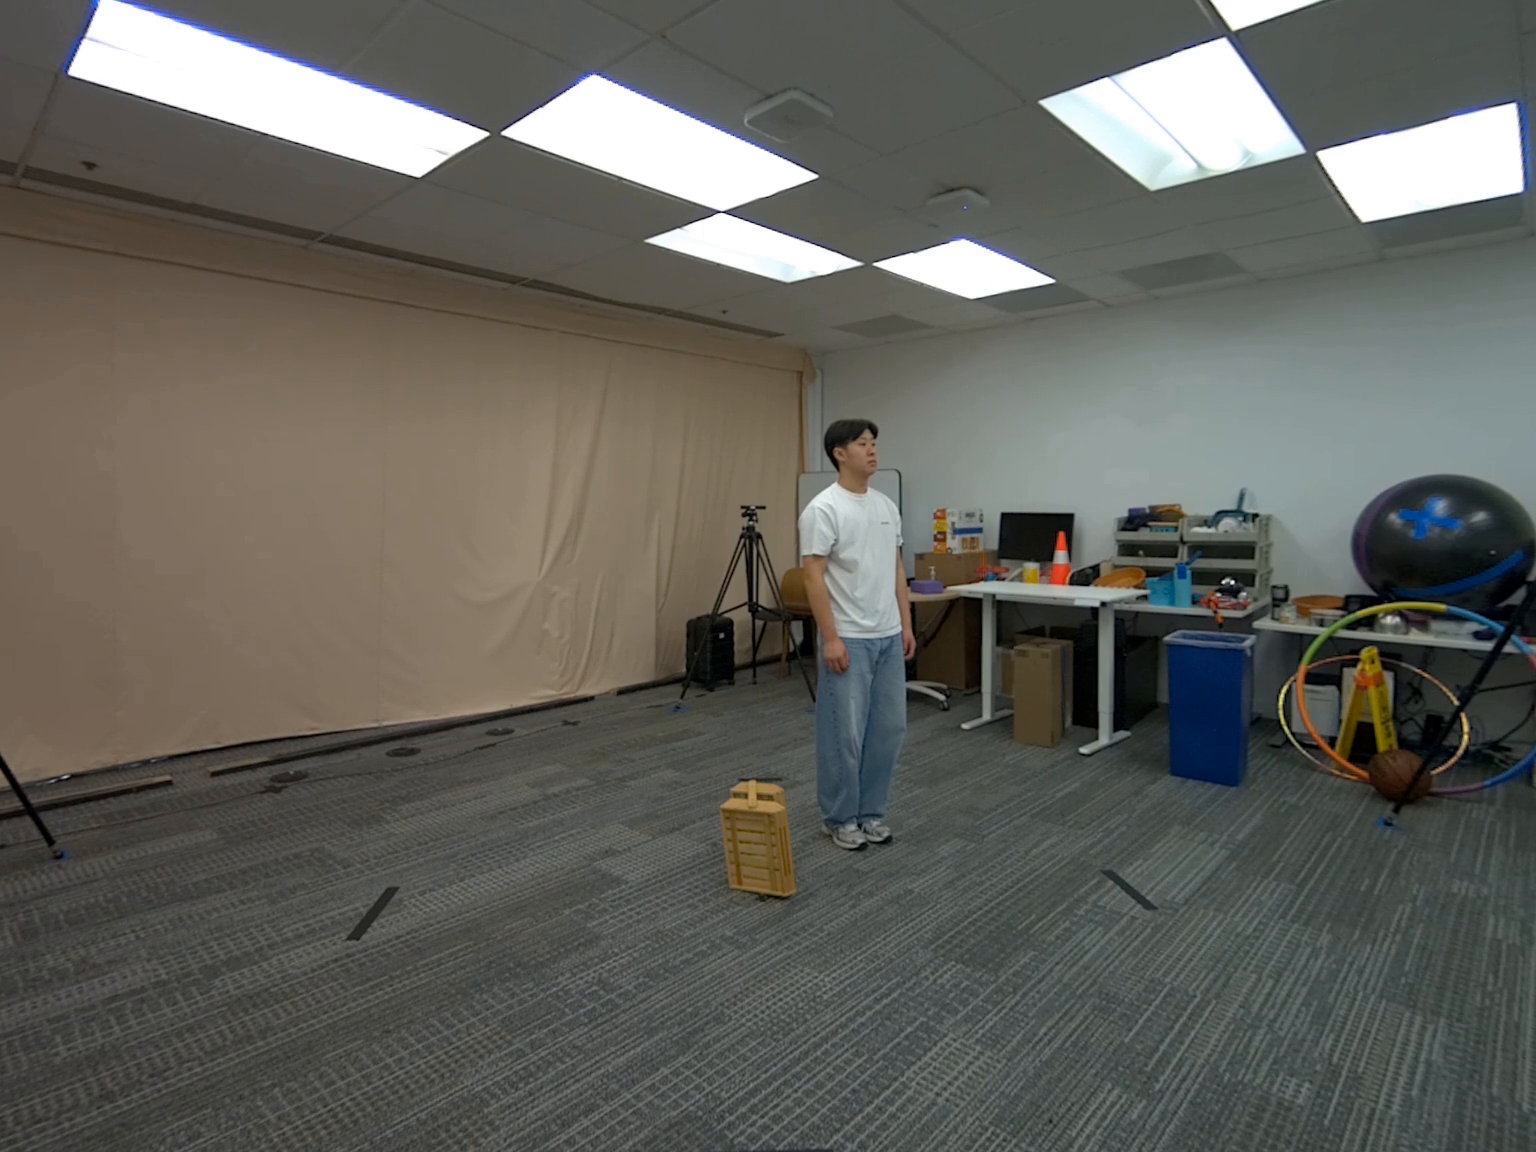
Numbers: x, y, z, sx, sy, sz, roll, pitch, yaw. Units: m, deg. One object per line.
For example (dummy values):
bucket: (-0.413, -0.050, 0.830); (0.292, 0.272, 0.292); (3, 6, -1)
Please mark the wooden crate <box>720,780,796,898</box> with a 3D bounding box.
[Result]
wooden crate: (-0.009, 0.964, 3.125); (0.310, 0.324, 0.267); (-4, 4, 30)
